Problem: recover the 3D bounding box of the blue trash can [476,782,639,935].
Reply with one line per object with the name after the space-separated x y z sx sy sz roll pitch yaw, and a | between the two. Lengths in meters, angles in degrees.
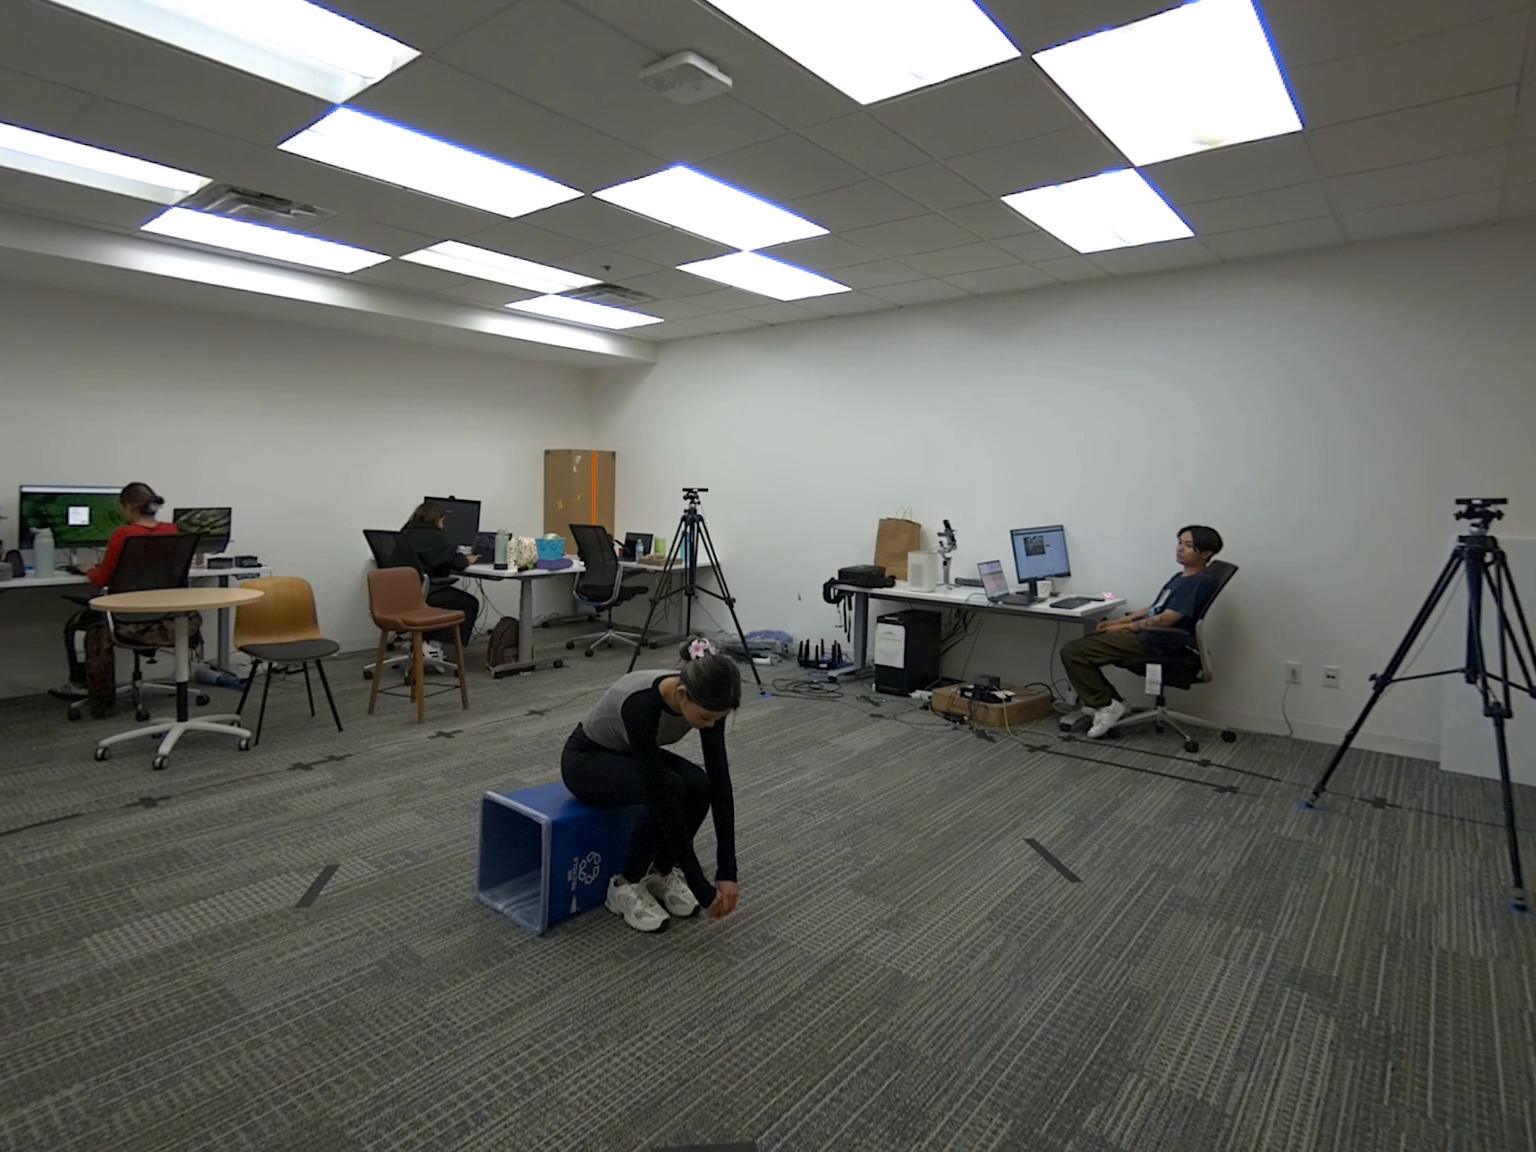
-0.627 0.897 2.999 0.391 0.373 0.691 4 4 39 | blue trash can
